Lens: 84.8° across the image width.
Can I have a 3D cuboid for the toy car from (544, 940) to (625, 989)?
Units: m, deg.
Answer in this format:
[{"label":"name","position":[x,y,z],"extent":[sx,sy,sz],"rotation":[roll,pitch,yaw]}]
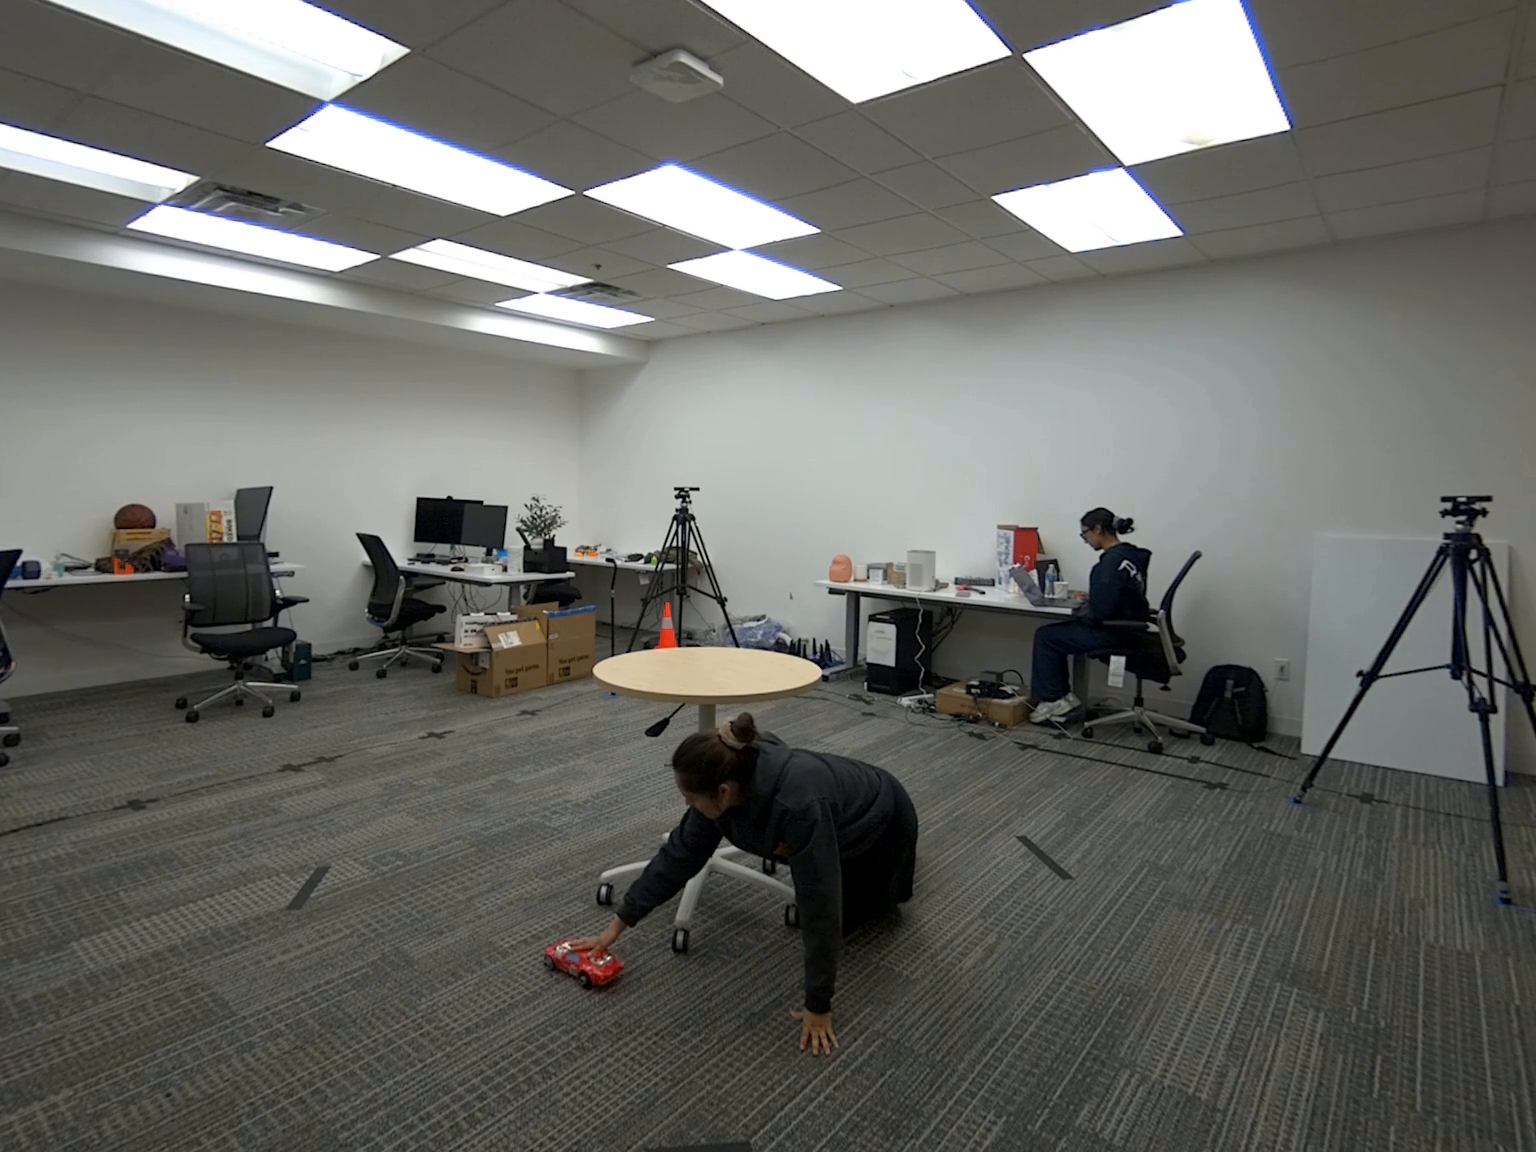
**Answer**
[{"label":"toy car","position":[-0.513,1.101,2.427],"extent":[0.261,0.083,0.127],"rotation":[-9,-2,35]}]
